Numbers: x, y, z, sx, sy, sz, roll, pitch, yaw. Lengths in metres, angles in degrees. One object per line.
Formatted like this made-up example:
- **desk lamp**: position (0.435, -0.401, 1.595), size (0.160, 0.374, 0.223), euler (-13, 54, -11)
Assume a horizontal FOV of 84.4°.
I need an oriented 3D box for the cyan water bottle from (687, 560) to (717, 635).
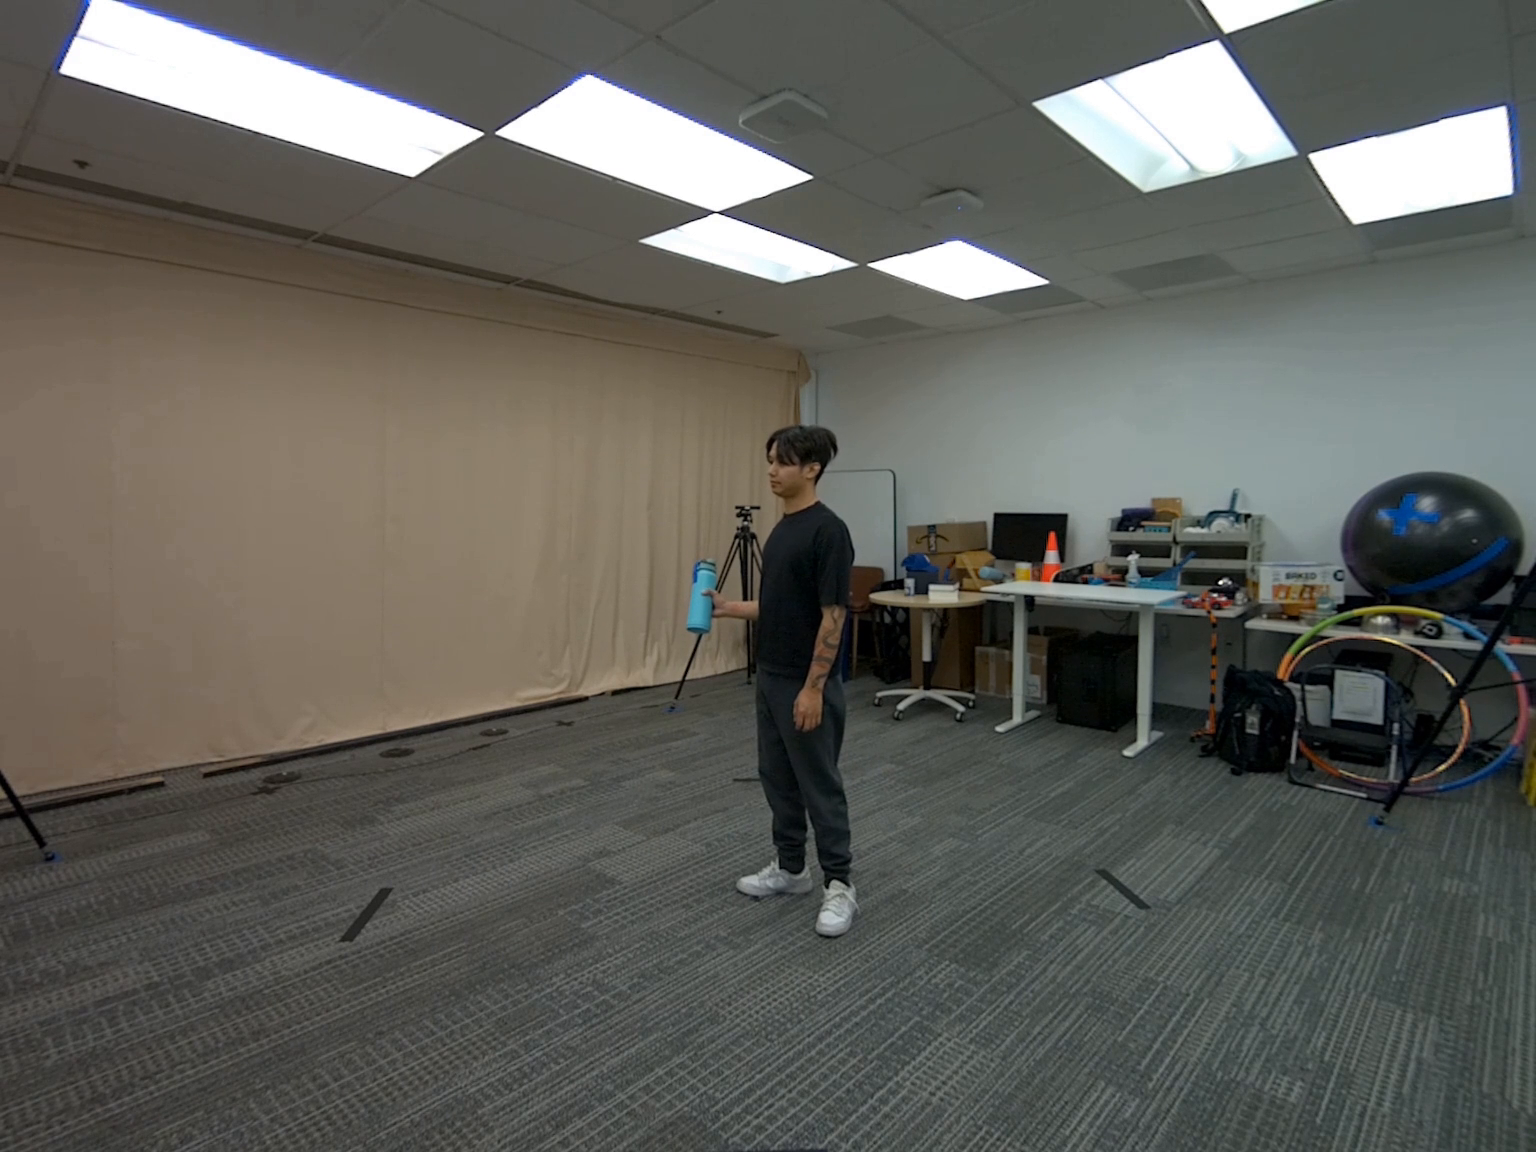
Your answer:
- **cyan water bottle**: position (-0.246, 0.071, 3.184), size (0.092, 0.286, 0.091), euler (5, -20, 0)
